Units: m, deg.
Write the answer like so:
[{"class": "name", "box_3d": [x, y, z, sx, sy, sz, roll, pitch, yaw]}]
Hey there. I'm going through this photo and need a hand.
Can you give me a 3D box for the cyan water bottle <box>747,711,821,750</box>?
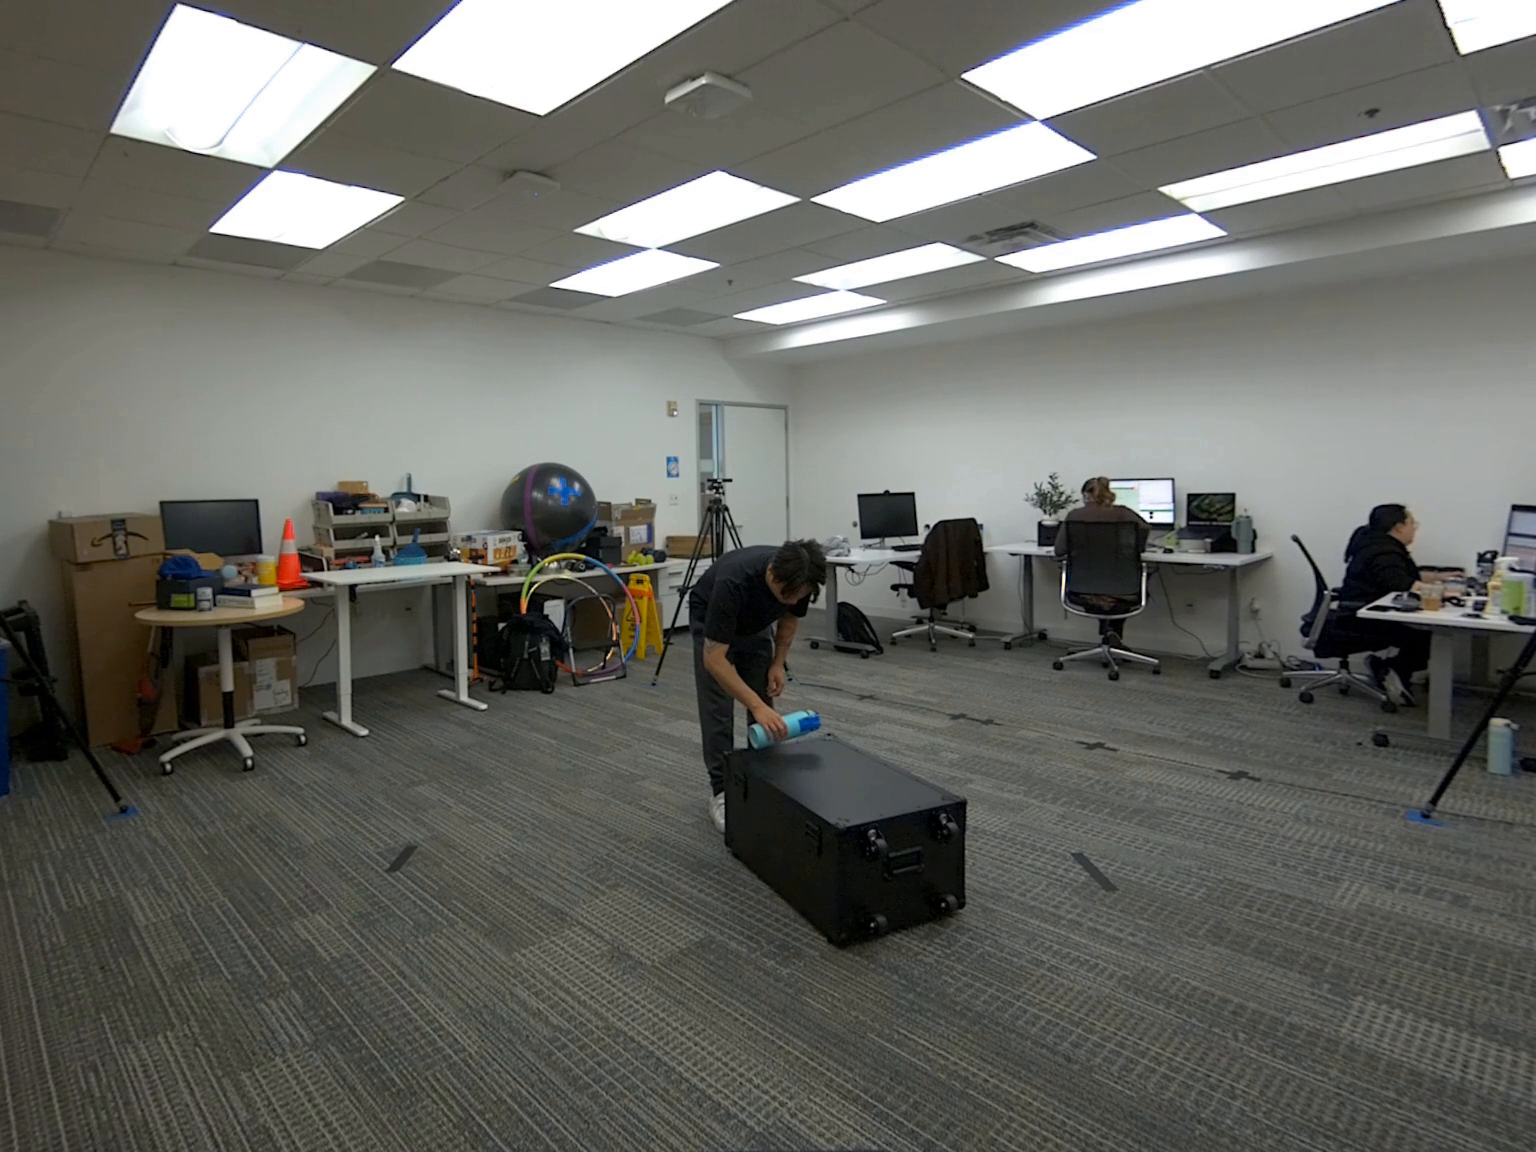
[{"class": "cyan water bottle", "box_3d": [0.074, 0.569, 3.209, 0.279, 0.092, 0.094, -11, 8, -22]}]
